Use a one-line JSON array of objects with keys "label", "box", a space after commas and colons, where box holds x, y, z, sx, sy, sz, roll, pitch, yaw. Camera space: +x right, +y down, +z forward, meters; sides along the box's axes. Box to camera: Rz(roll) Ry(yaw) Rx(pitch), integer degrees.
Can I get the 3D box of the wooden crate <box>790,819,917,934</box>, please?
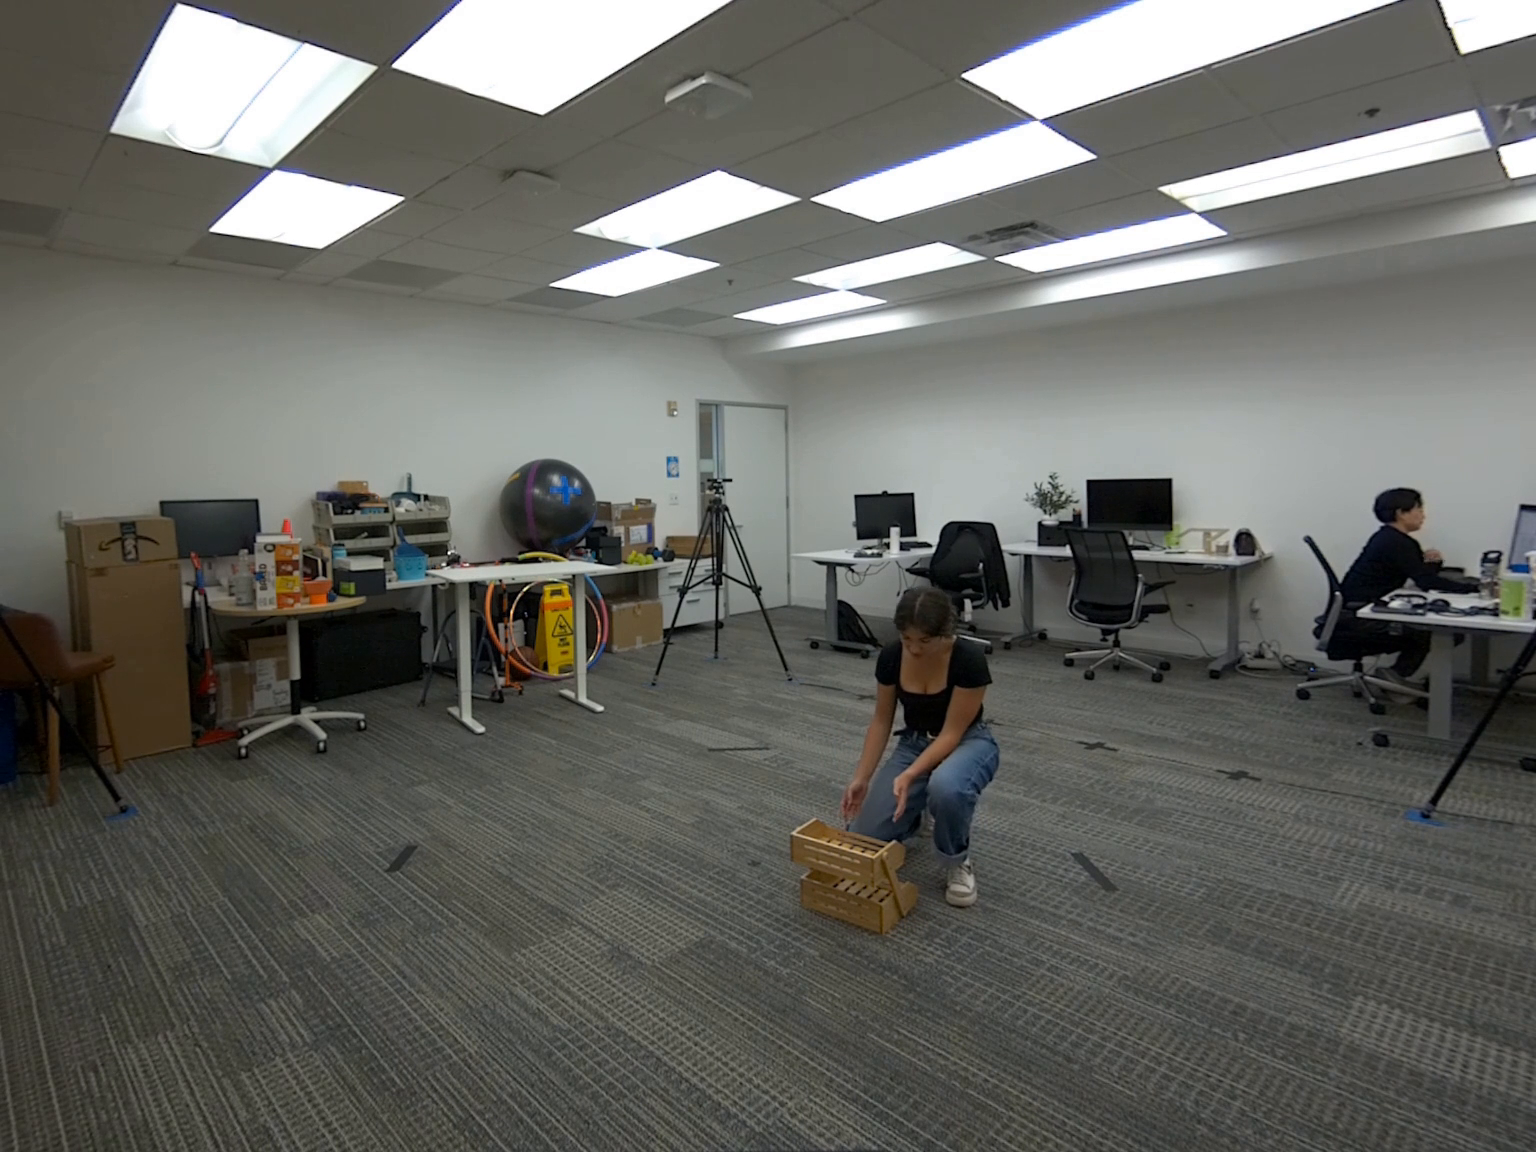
[{"label": "wooden crate", "box": [0.289, 0.947, 2.768, 0.334, 0.272, 0.295, 3, 7, 37]}]
